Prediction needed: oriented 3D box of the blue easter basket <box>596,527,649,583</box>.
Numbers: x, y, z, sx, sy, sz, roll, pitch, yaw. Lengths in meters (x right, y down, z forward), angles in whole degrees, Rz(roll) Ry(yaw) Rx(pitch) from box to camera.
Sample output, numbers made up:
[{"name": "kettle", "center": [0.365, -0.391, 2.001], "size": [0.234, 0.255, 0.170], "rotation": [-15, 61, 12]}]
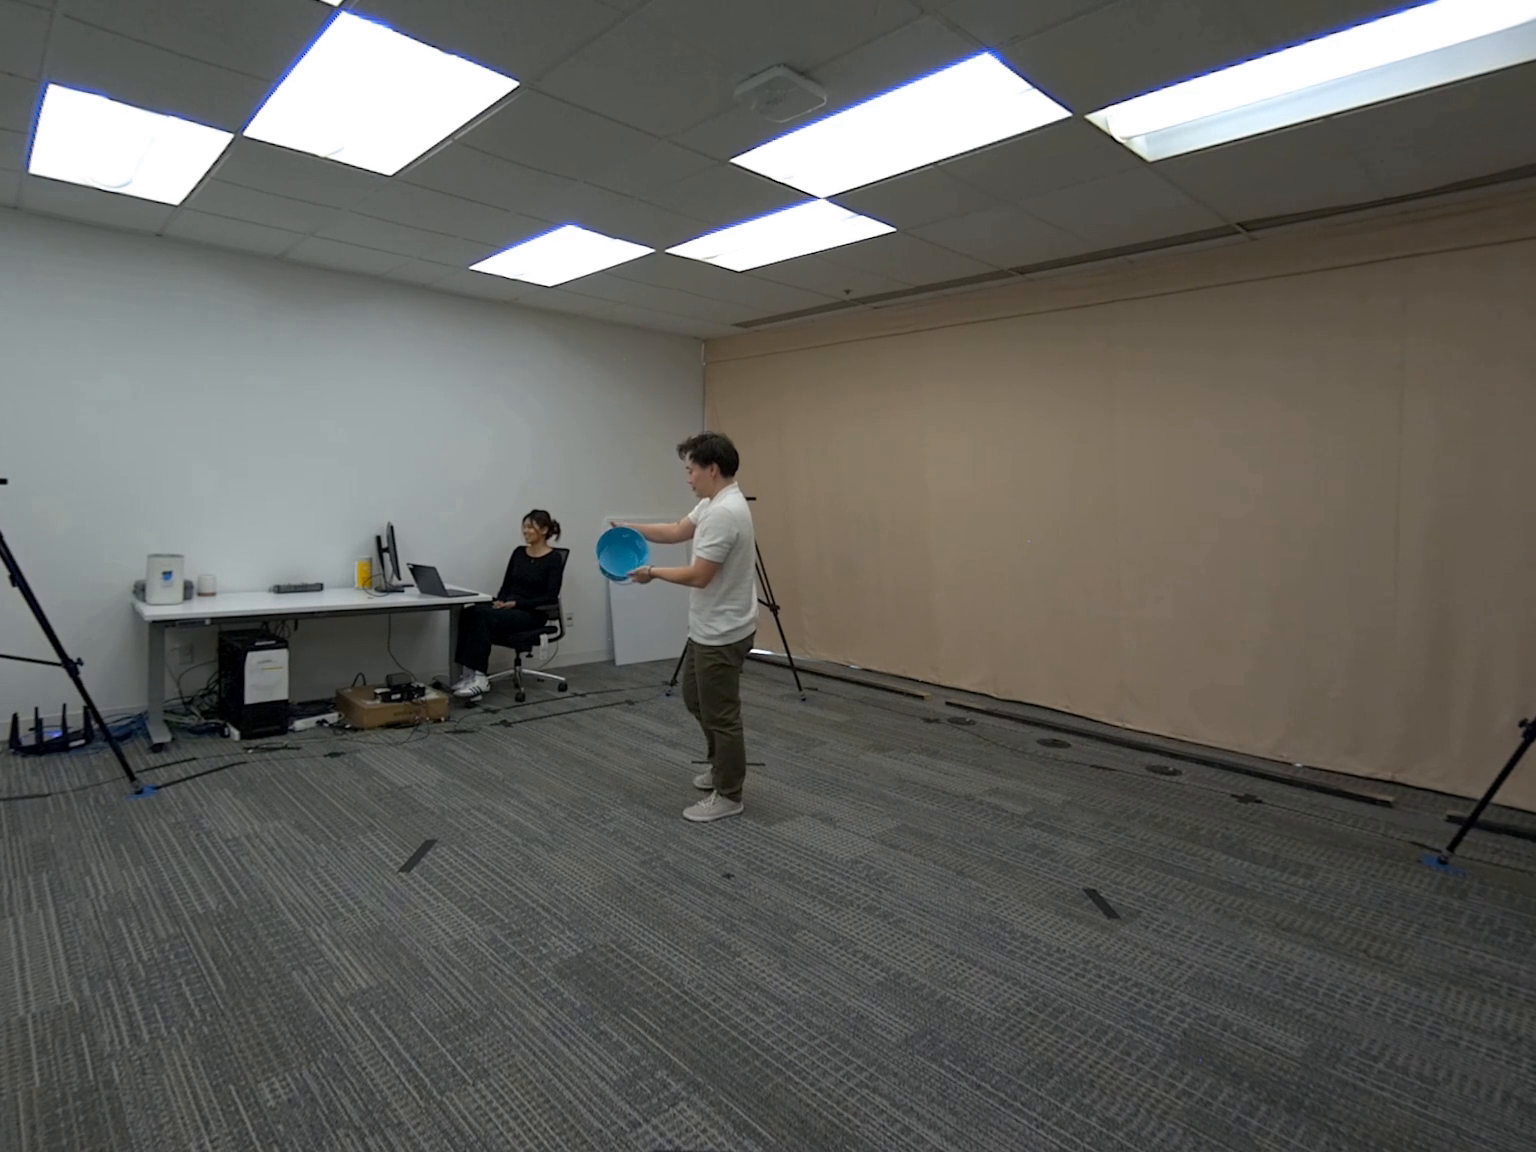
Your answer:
[{"name": "blue easter basket", "center": [-0.650, -0.075, 3.701], "size": [0.241, 0.247, 0.155], "rotation": [0, -16, -12]}]
